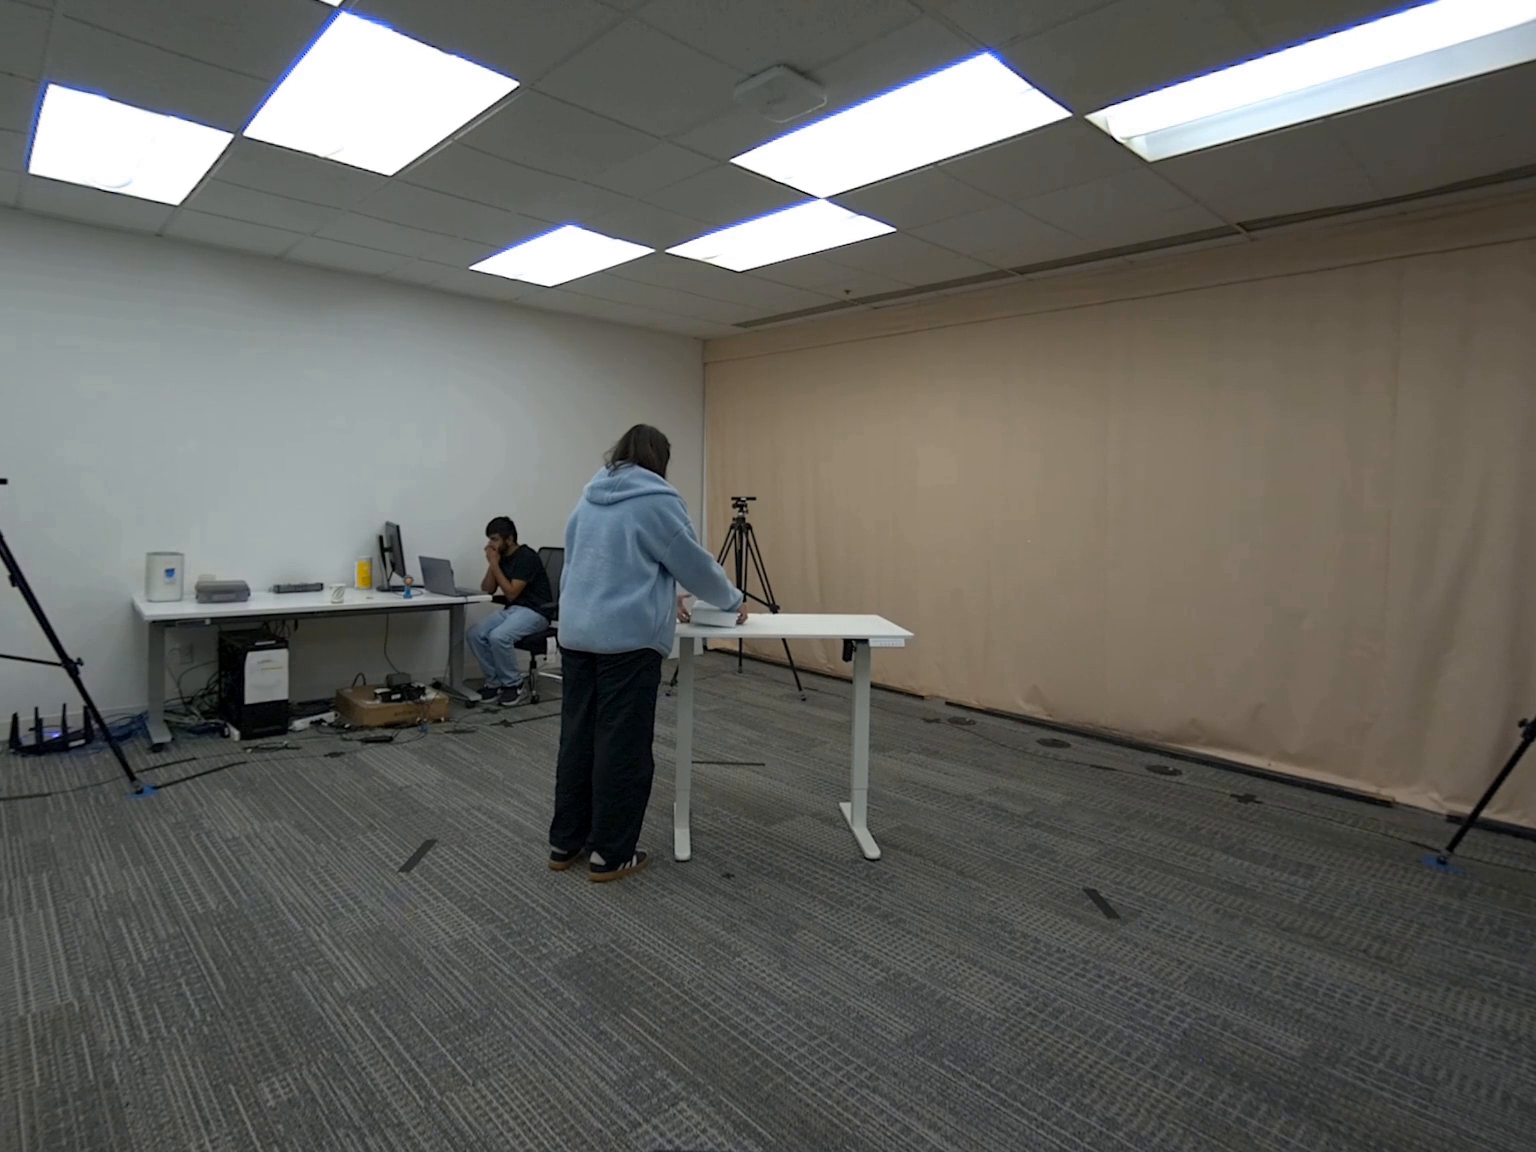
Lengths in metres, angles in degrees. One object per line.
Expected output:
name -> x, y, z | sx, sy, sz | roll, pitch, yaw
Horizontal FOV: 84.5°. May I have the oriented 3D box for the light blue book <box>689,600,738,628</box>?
light blue book -> -0.220, 0.151, 3.462 | 0.192, 0.059, 0.261 | 7, 6, 2
